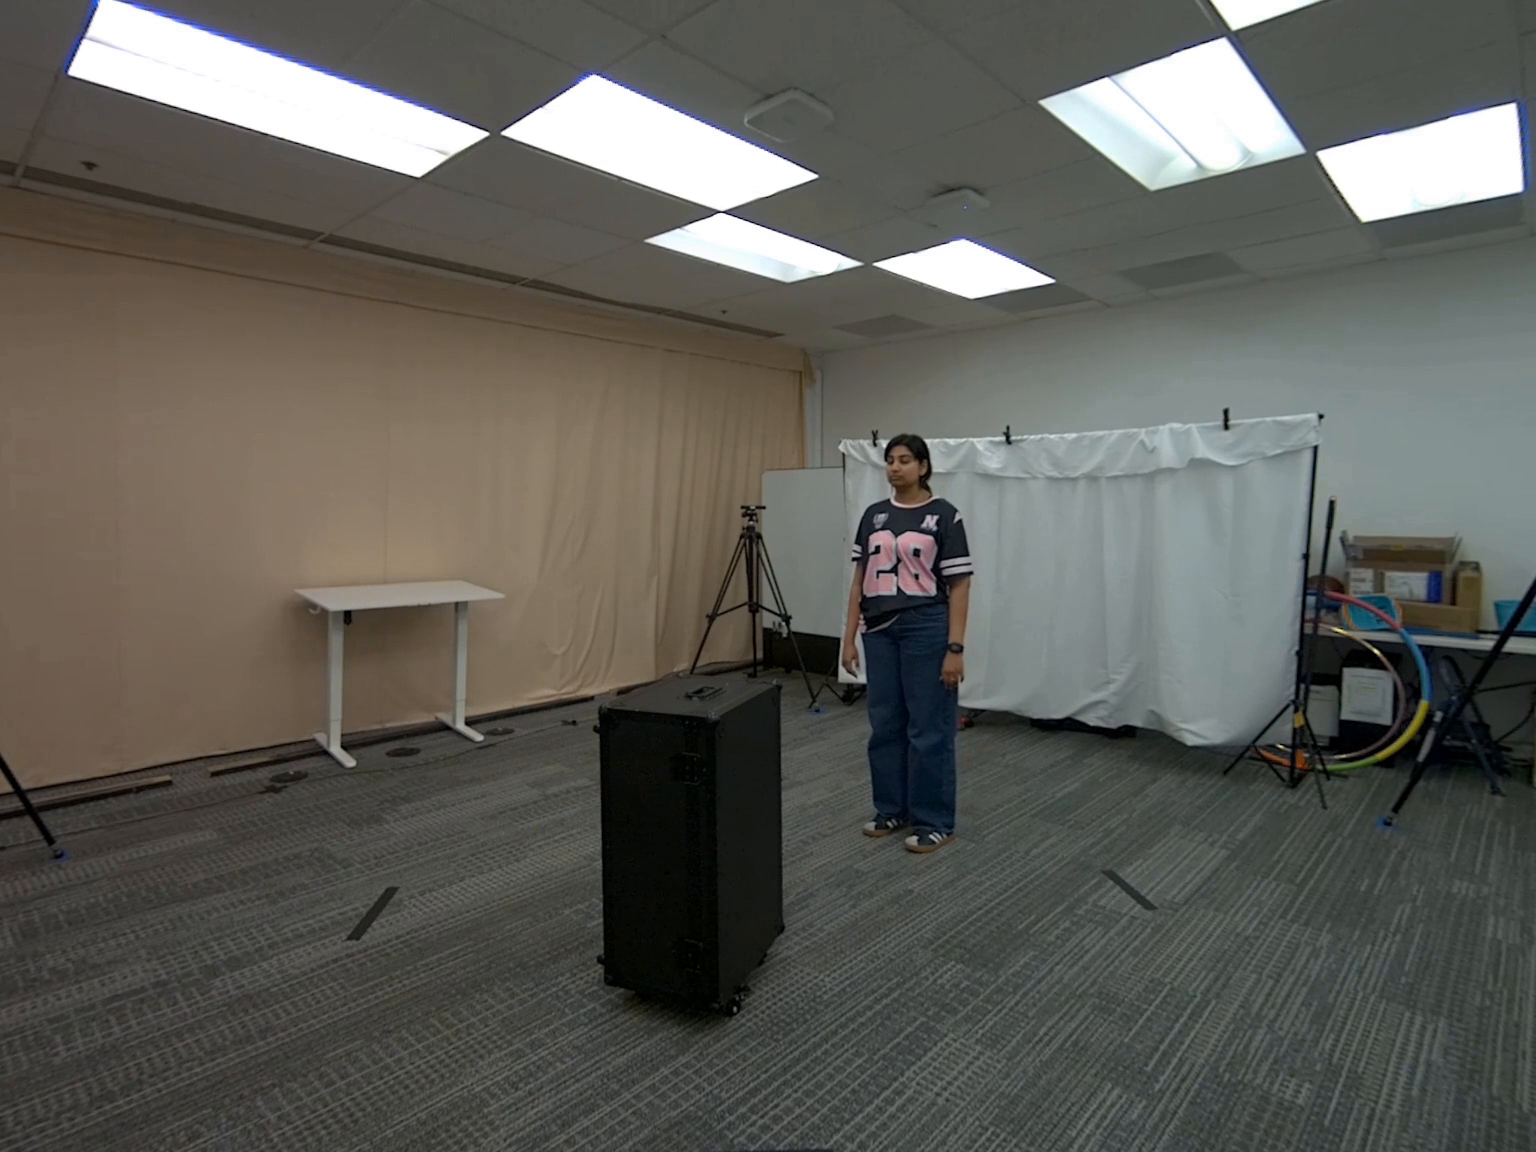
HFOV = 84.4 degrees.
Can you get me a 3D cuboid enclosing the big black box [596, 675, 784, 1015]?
[{"bbox_3d":[-0.211,0.766,2.452,0.394,0.867,0.512,1,3,23],"label":"big black box"}]
